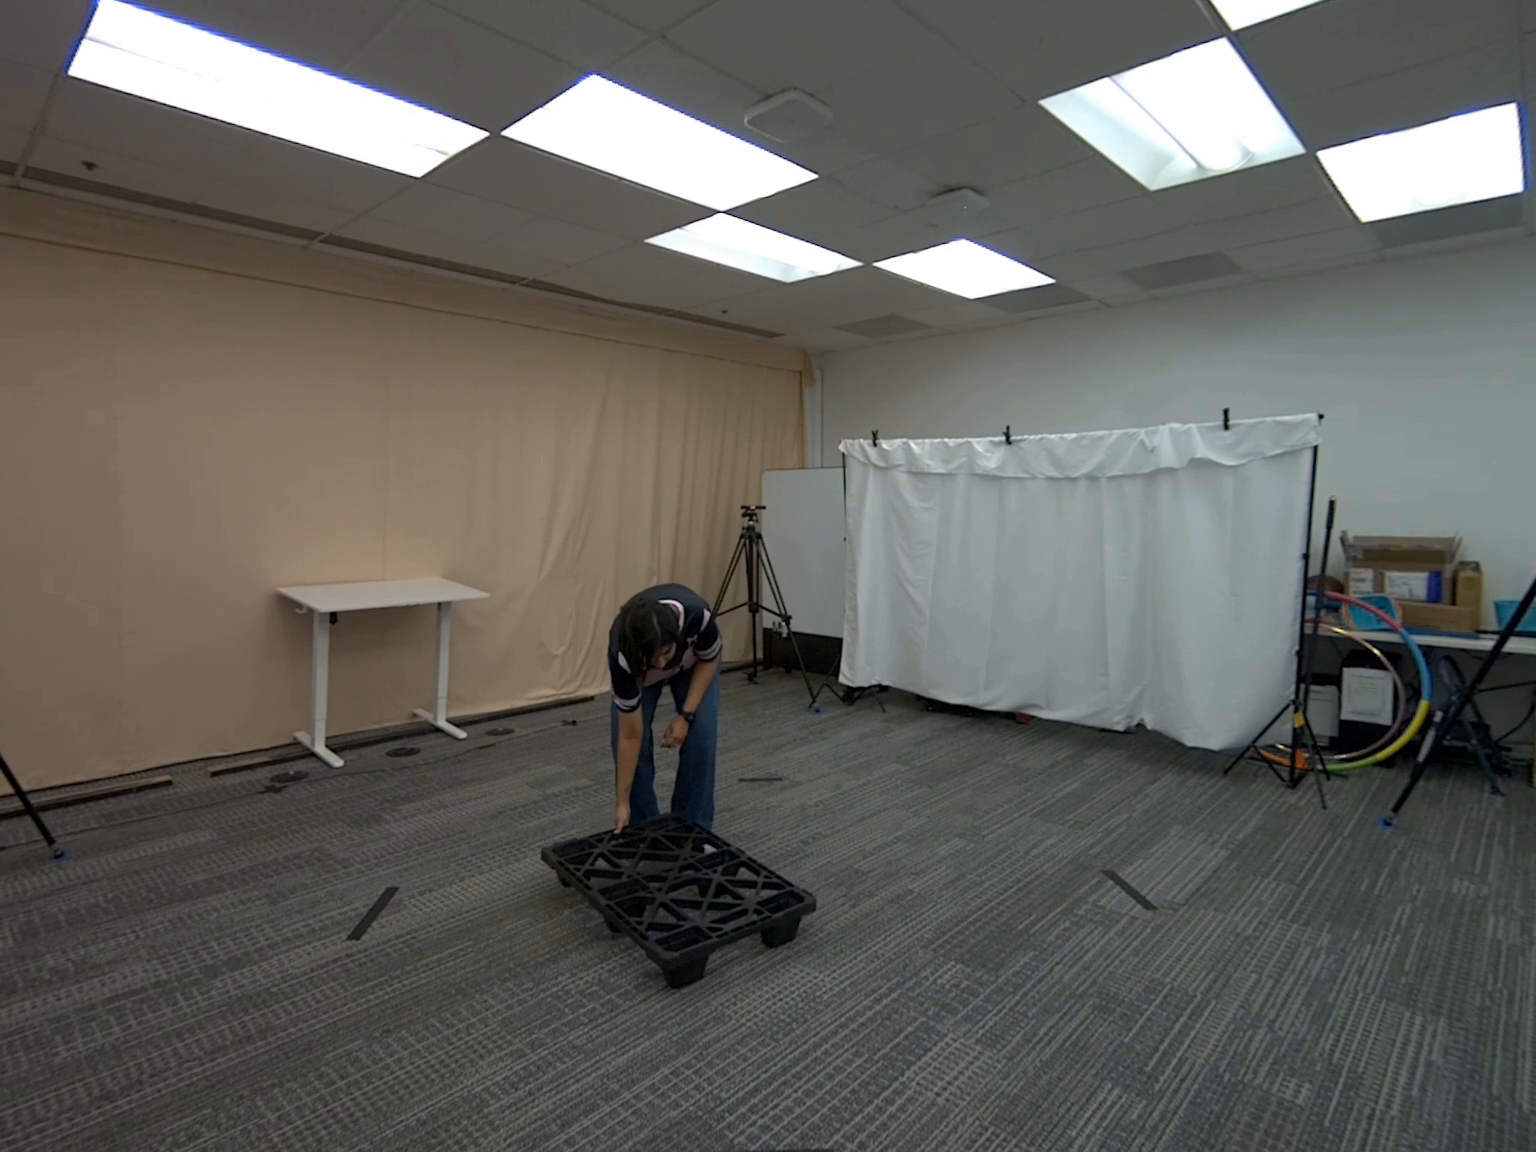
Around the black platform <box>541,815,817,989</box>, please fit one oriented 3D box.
[{"bbox_3d":[-0.323,1.068,2.836,0.587,0.143,0.833,-5,10,-39],"label":"black platform"}]
